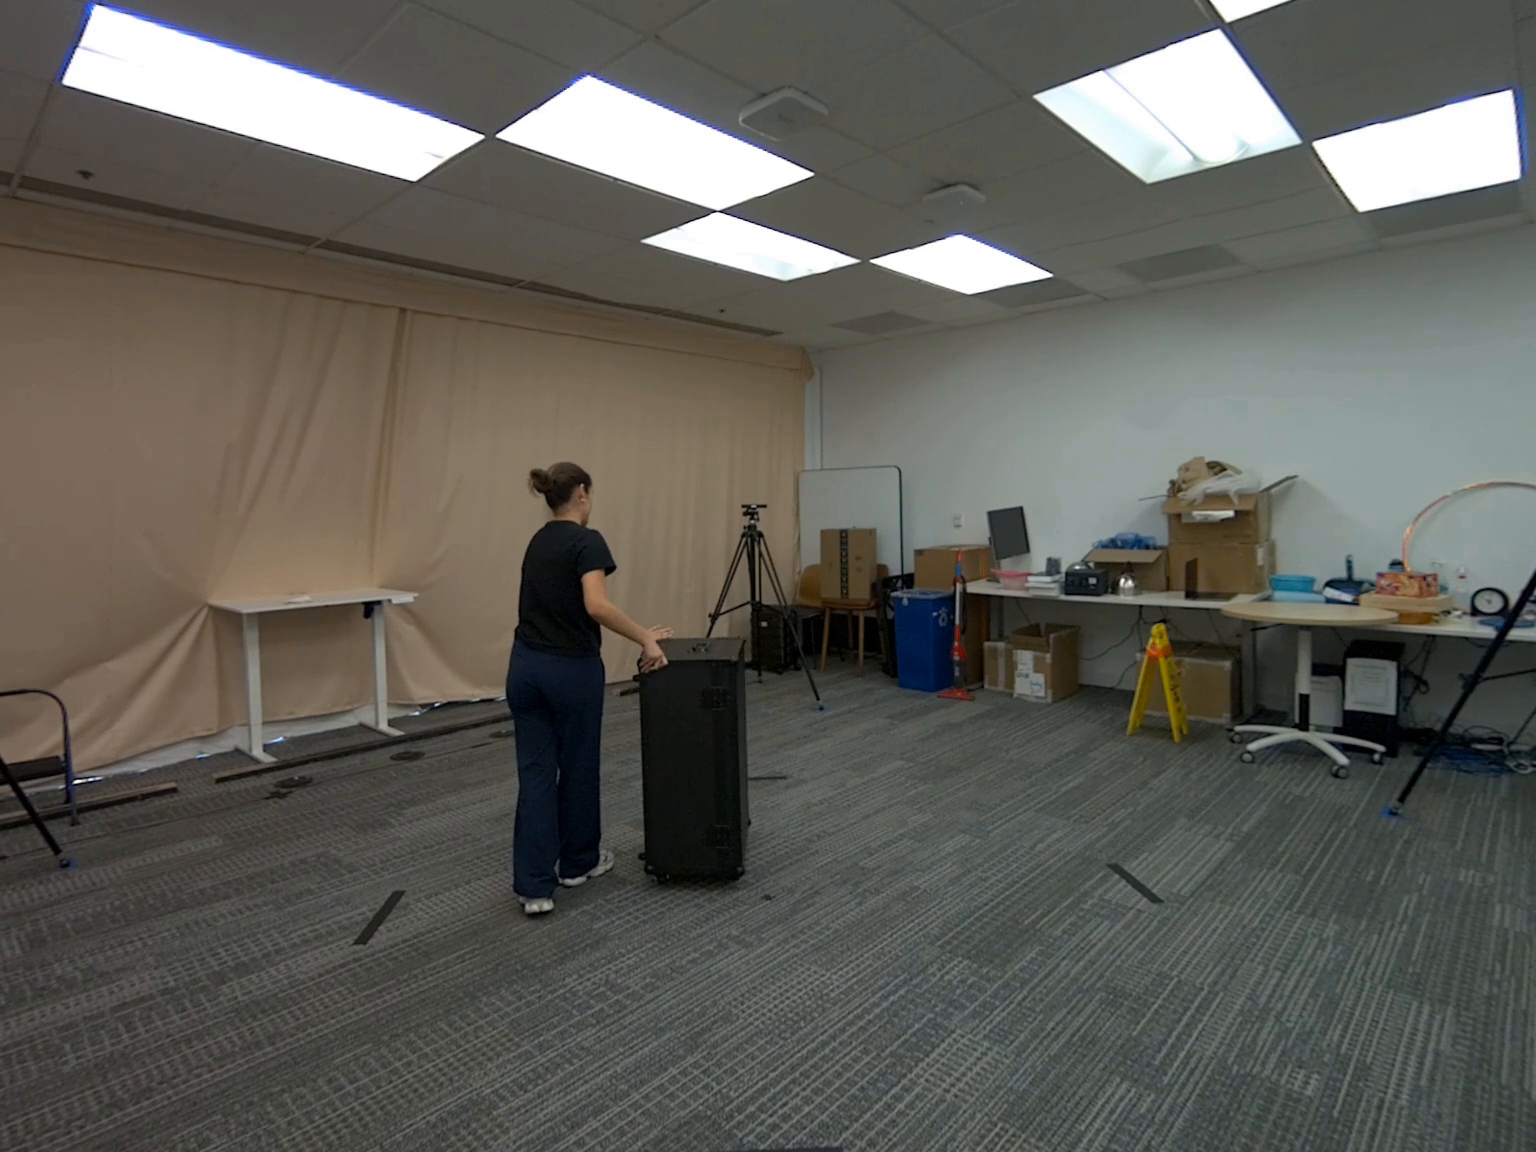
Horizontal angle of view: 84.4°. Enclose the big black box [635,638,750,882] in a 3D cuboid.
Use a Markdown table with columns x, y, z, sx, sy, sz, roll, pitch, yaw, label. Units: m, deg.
| x | y | z | sx | sy | sz | roll | pitch | yaw | label |
| --- | --- | --- | --- | --- | --- | --- | --- | --- | --- |
| -0.265 | 0.699 | 3.234 | 0.398 | 0.859 | 0.521 | -1 | 5 | 3 | big black box |
